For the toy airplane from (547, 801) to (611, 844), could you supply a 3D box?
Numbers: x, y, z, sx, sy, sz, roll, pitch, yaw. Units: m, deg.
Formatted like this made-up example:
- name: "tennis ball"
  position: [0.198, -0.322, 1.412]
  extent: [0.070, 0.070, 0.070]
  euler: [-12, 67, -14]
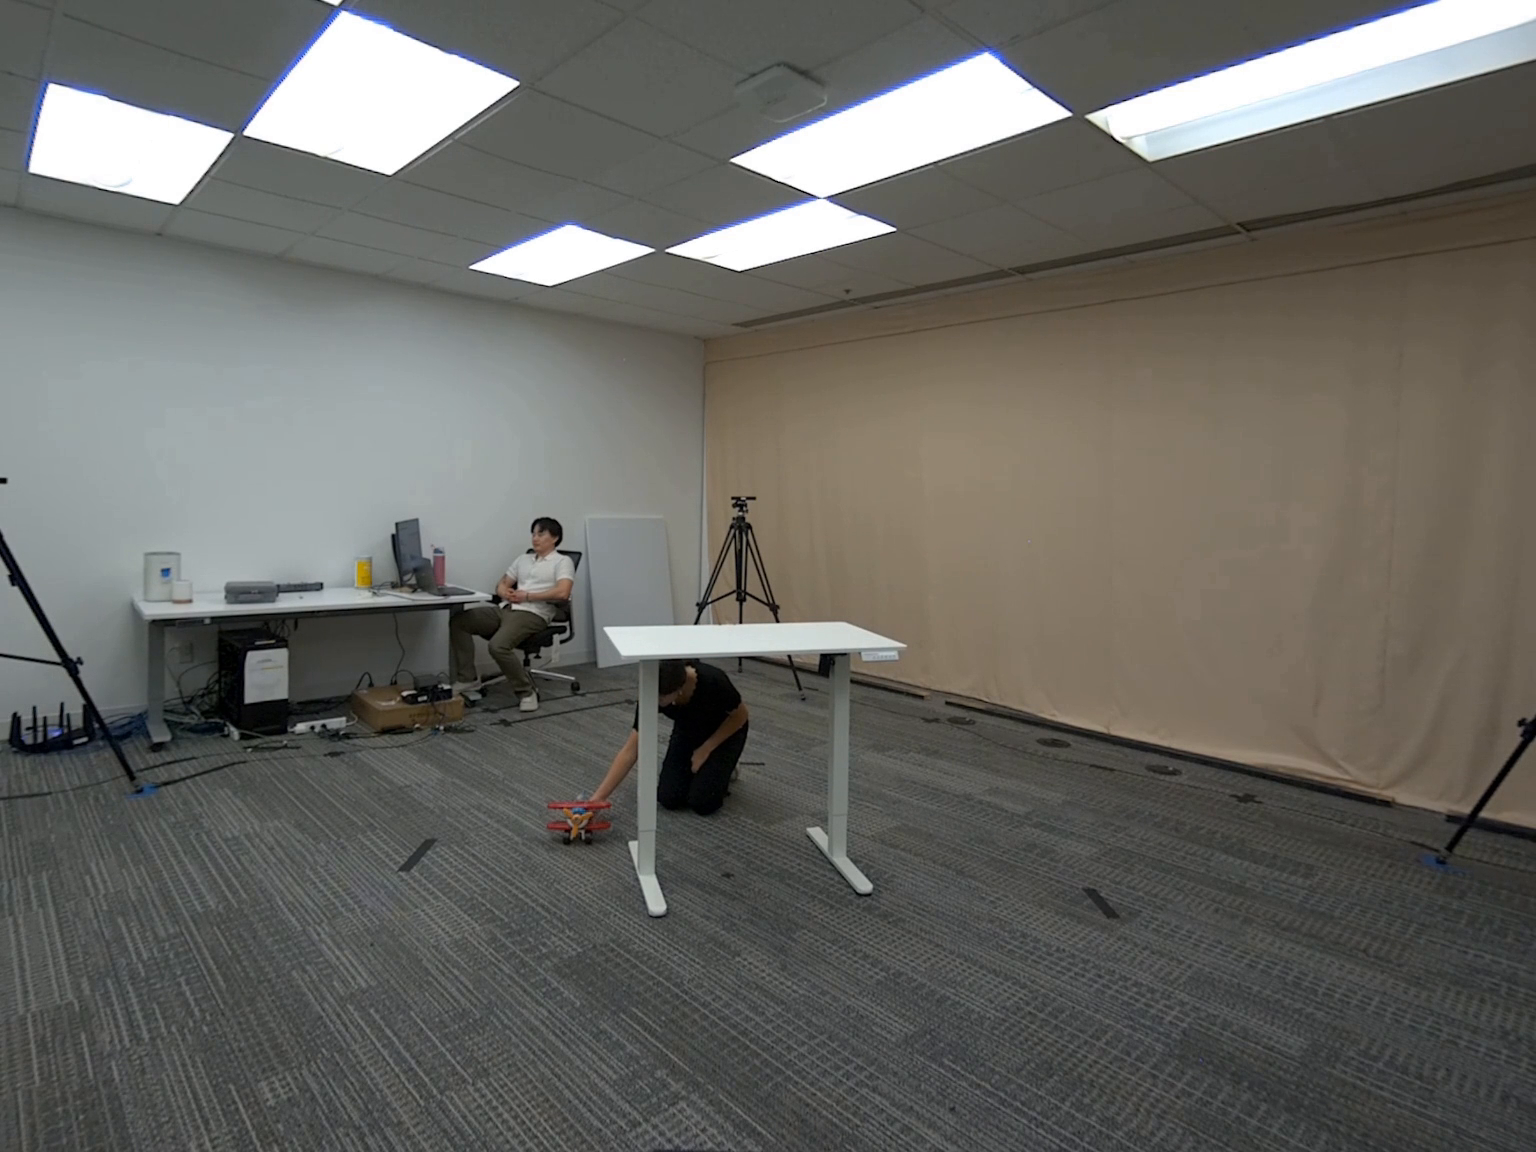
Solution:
- name: "toy airplane"
  position: [-0.793, 0.980, 3.428]
  extent: [0.246, 0.155, 0.266]
  euler: [-5, 13, -34]
